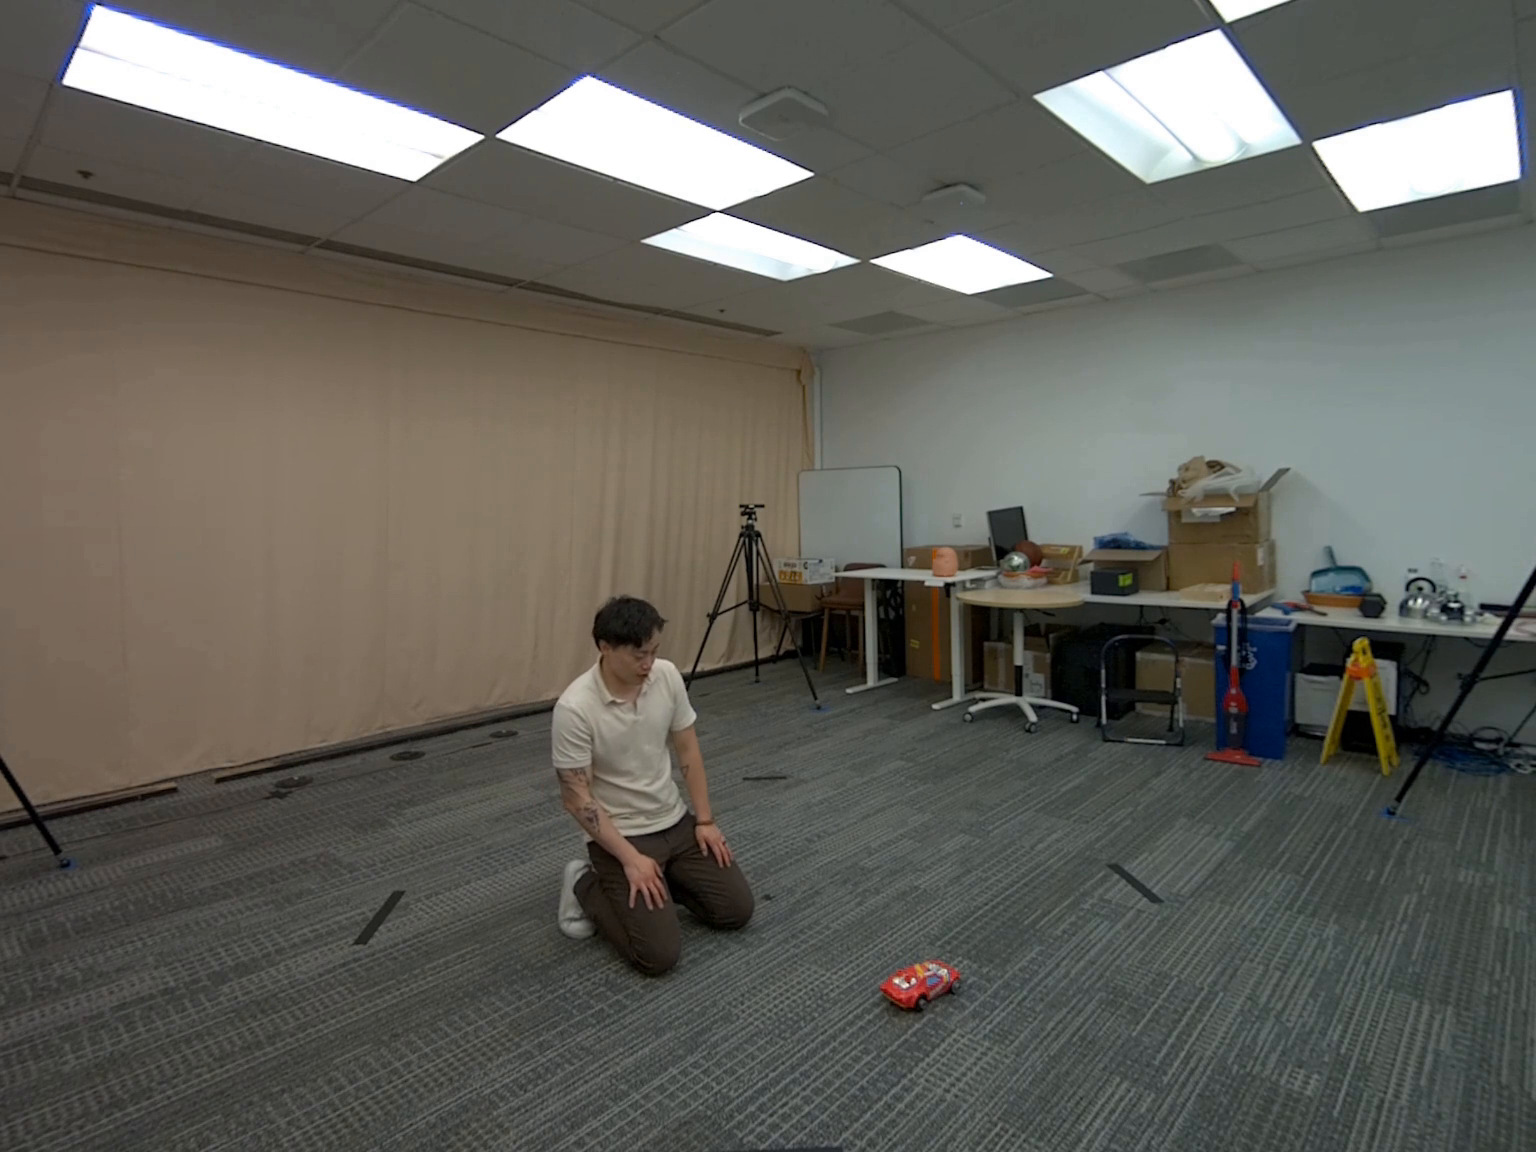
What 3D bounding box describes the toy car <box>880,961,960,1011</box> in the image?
[{"bbox_3d":[0.432,1.155,2.361,0.246,0.083,0.134,10,-2,-35],"label":"toy car"}]
